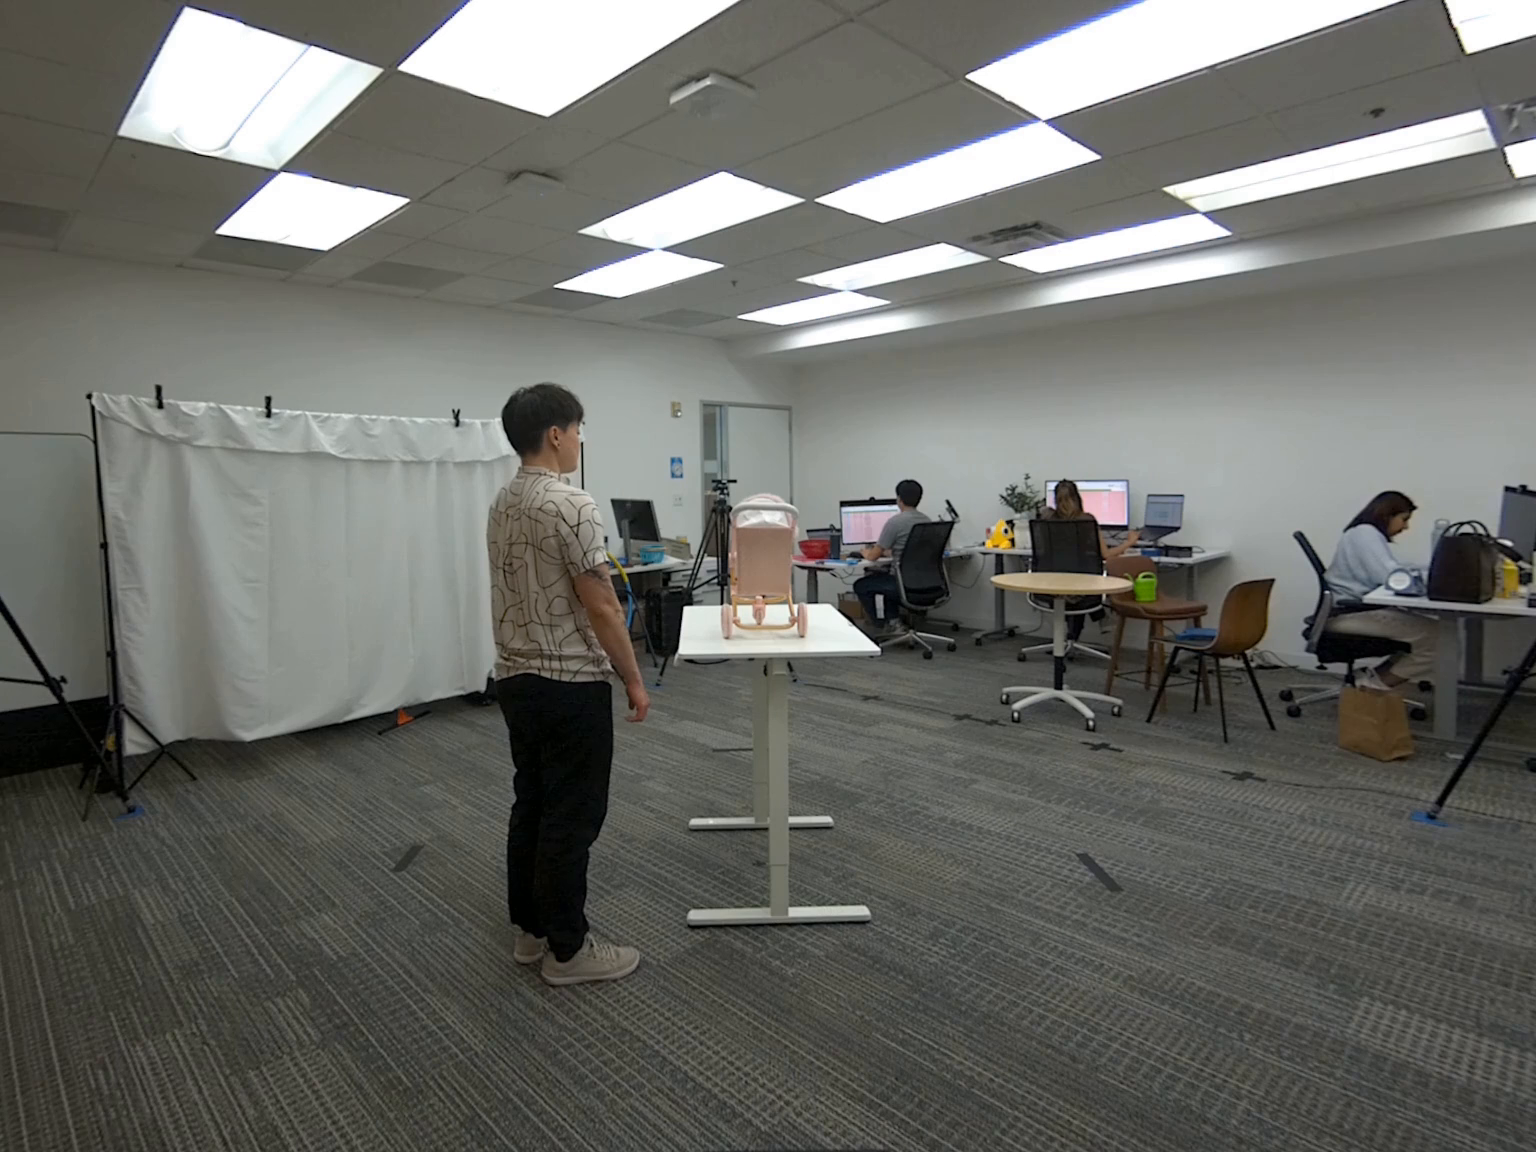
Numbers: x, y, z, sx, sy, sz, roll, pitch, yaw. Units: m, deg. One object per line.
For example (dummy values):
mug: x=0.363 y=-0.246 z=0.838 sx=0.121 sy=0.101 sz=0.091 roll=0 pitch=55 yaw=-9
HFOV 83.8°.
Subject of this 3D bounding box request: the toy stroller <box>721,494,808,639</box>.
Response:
toy stroller: x=-0.014 y=-0.031 z=2.836 sx=0.282 sy=0.526 sz=0.346 roll=0 pitch=19 yaw=1
